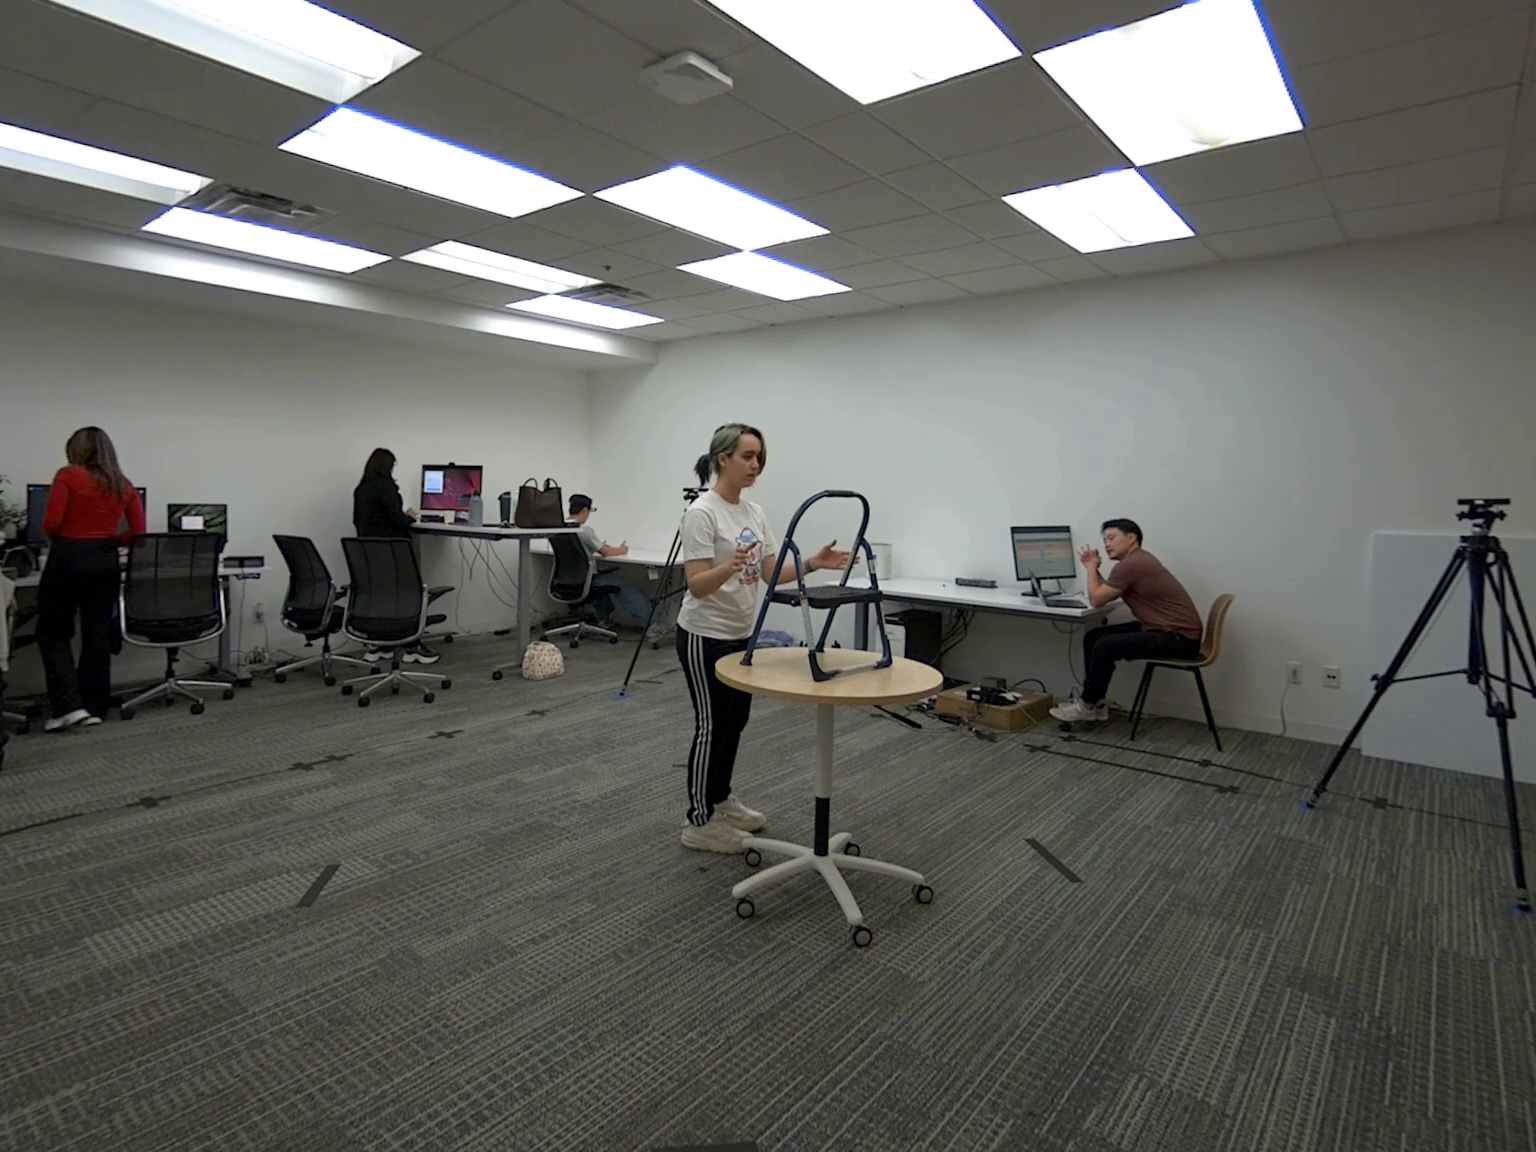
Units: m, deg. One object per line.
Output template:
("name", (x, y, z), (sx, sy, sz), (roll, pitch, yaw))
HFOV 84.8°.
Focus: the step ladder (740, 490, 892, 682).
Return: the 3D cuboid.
("step ladder", (0.178, 0.007, 2.937), (0.361, 0.604, 0.417), (5, 5, 44))
